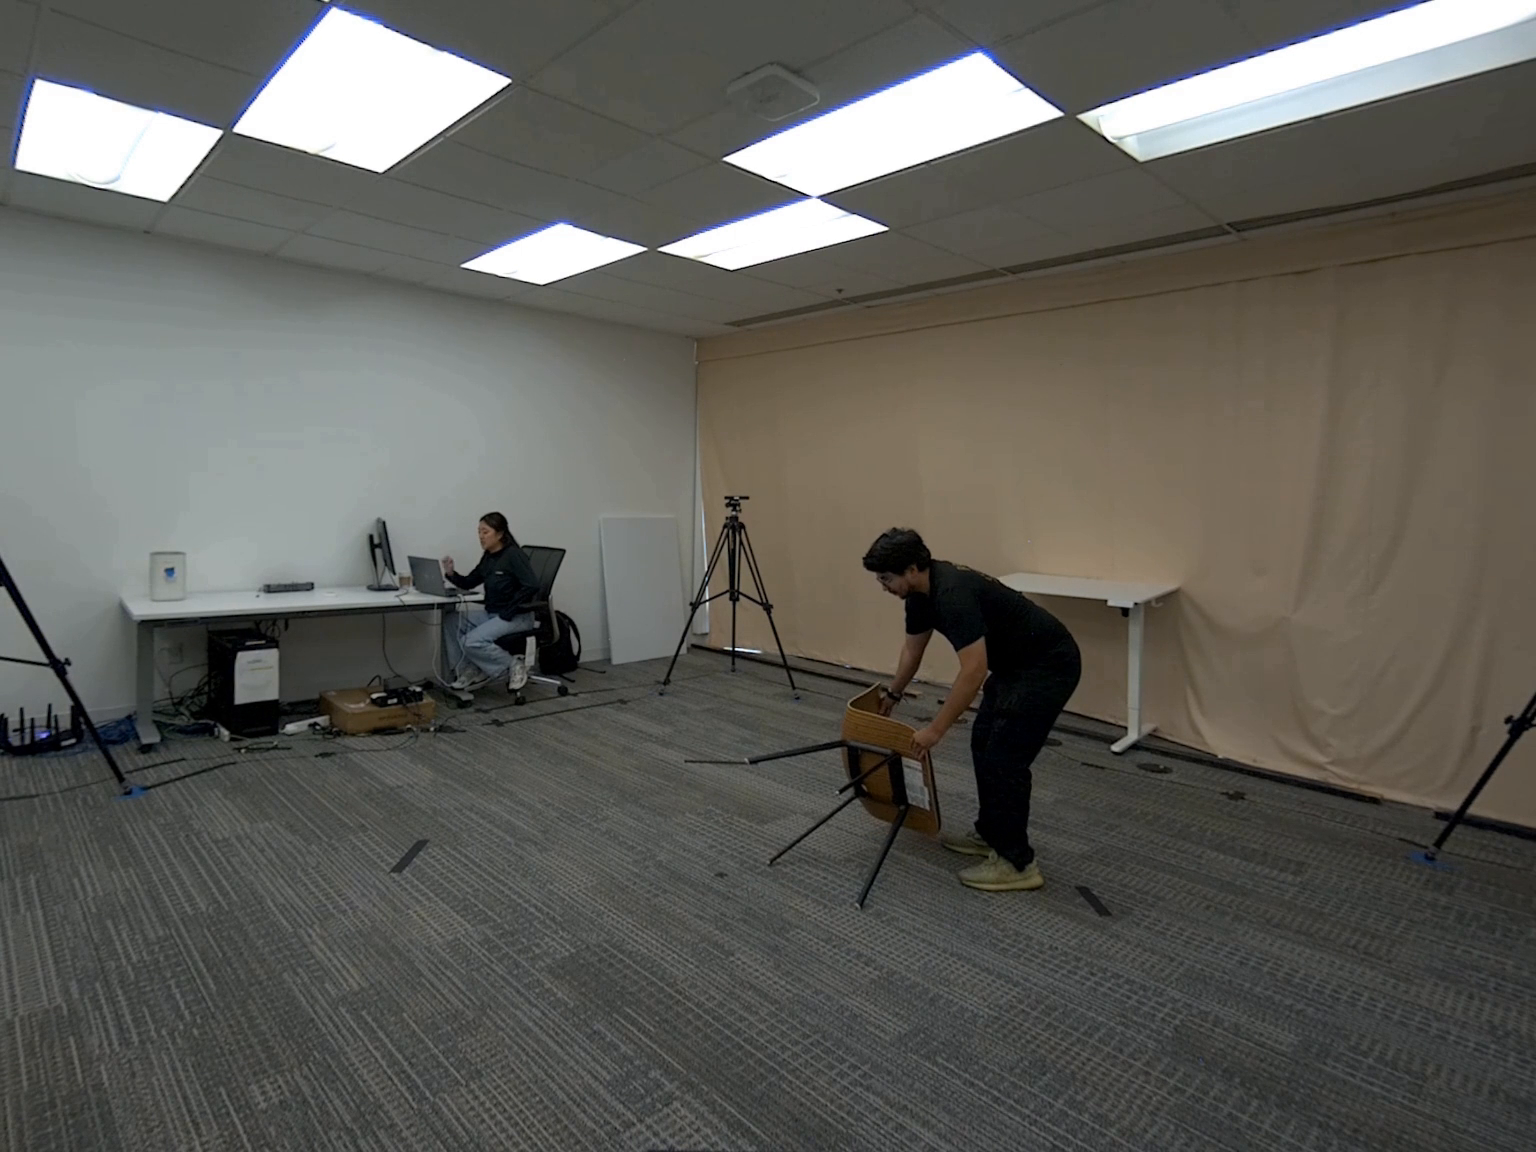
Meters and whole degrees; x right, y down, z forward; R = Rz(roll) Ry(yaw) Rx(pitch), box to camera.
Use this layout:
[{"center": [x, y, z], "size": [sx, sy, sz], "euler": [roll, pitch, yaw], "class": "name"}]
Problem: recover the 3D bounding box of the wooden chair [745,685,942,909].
[{"center": [0.411, 0.767, 3.240], "size": [0.536, 0.472, 0.866], "euler": [3, 20, 42], "class": "wooden chair"}]
